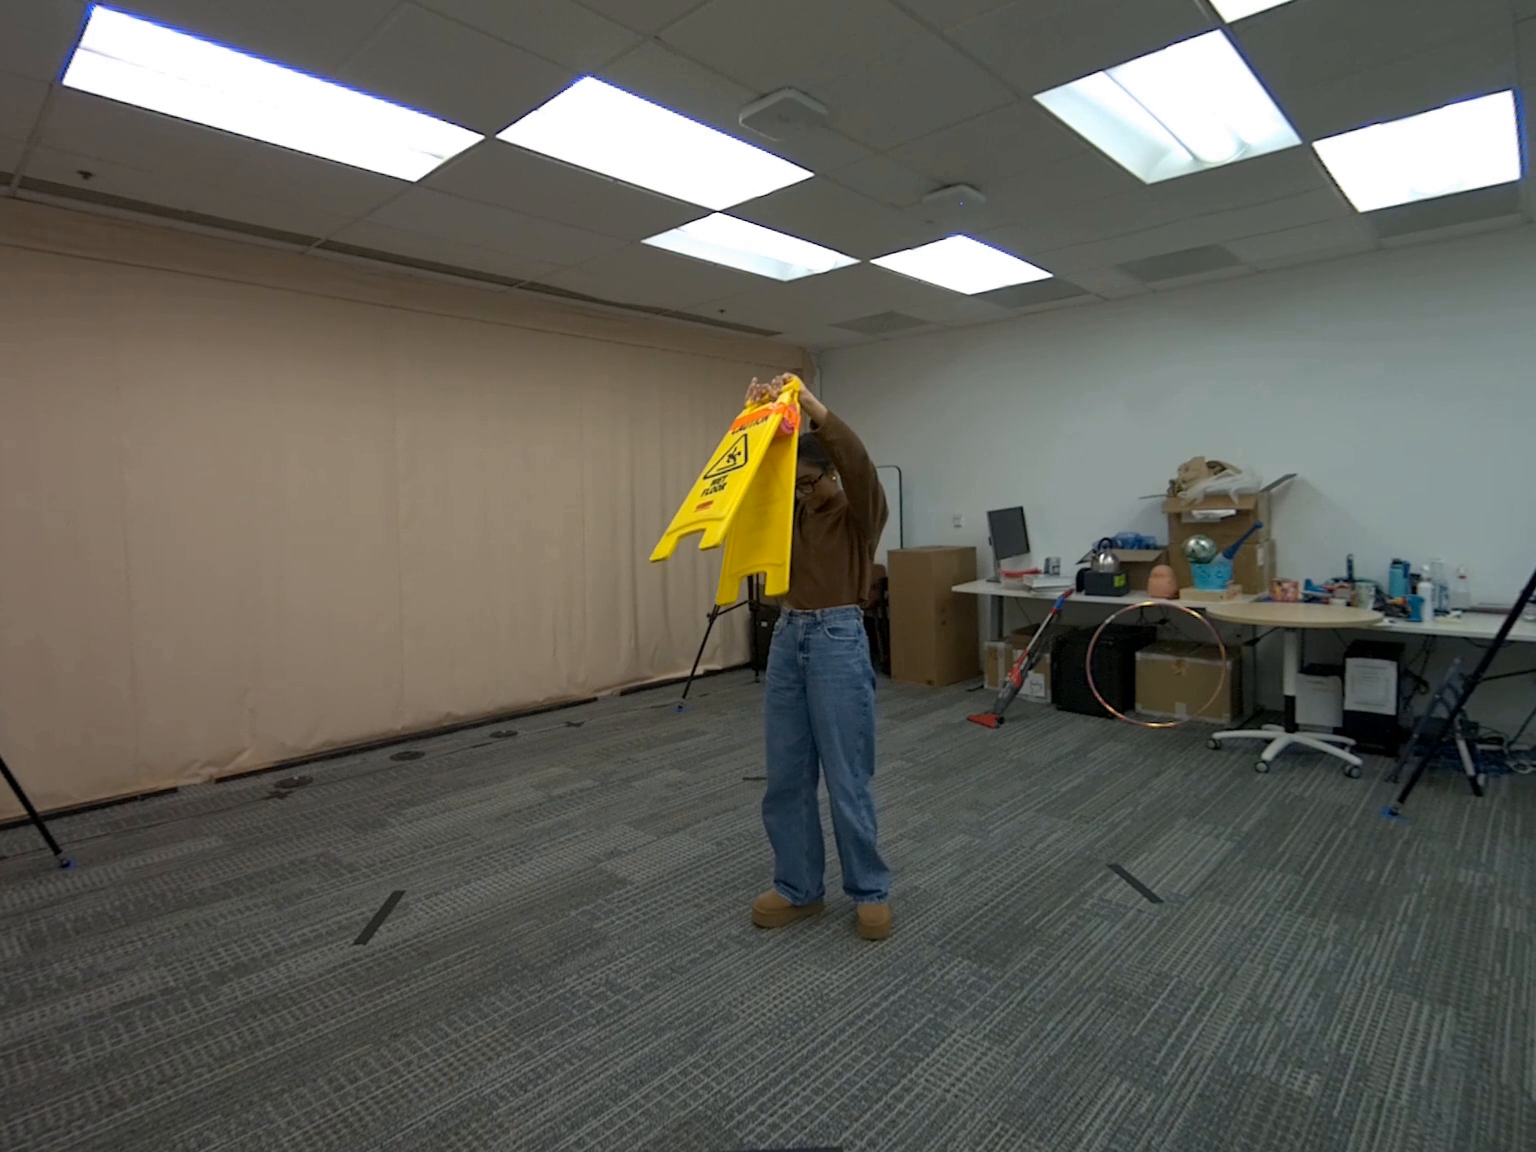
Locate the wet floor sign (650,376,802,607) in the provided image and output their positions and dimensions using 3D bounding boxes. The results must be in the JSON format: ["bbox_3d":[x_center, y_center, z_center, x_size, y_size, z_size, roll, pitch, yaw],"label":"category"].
[{"bbox_3d":[-0.054,-0.277,2.366,0.280,0.651,0.290,33,-30,-35],"label":"wet floor sign"}]
